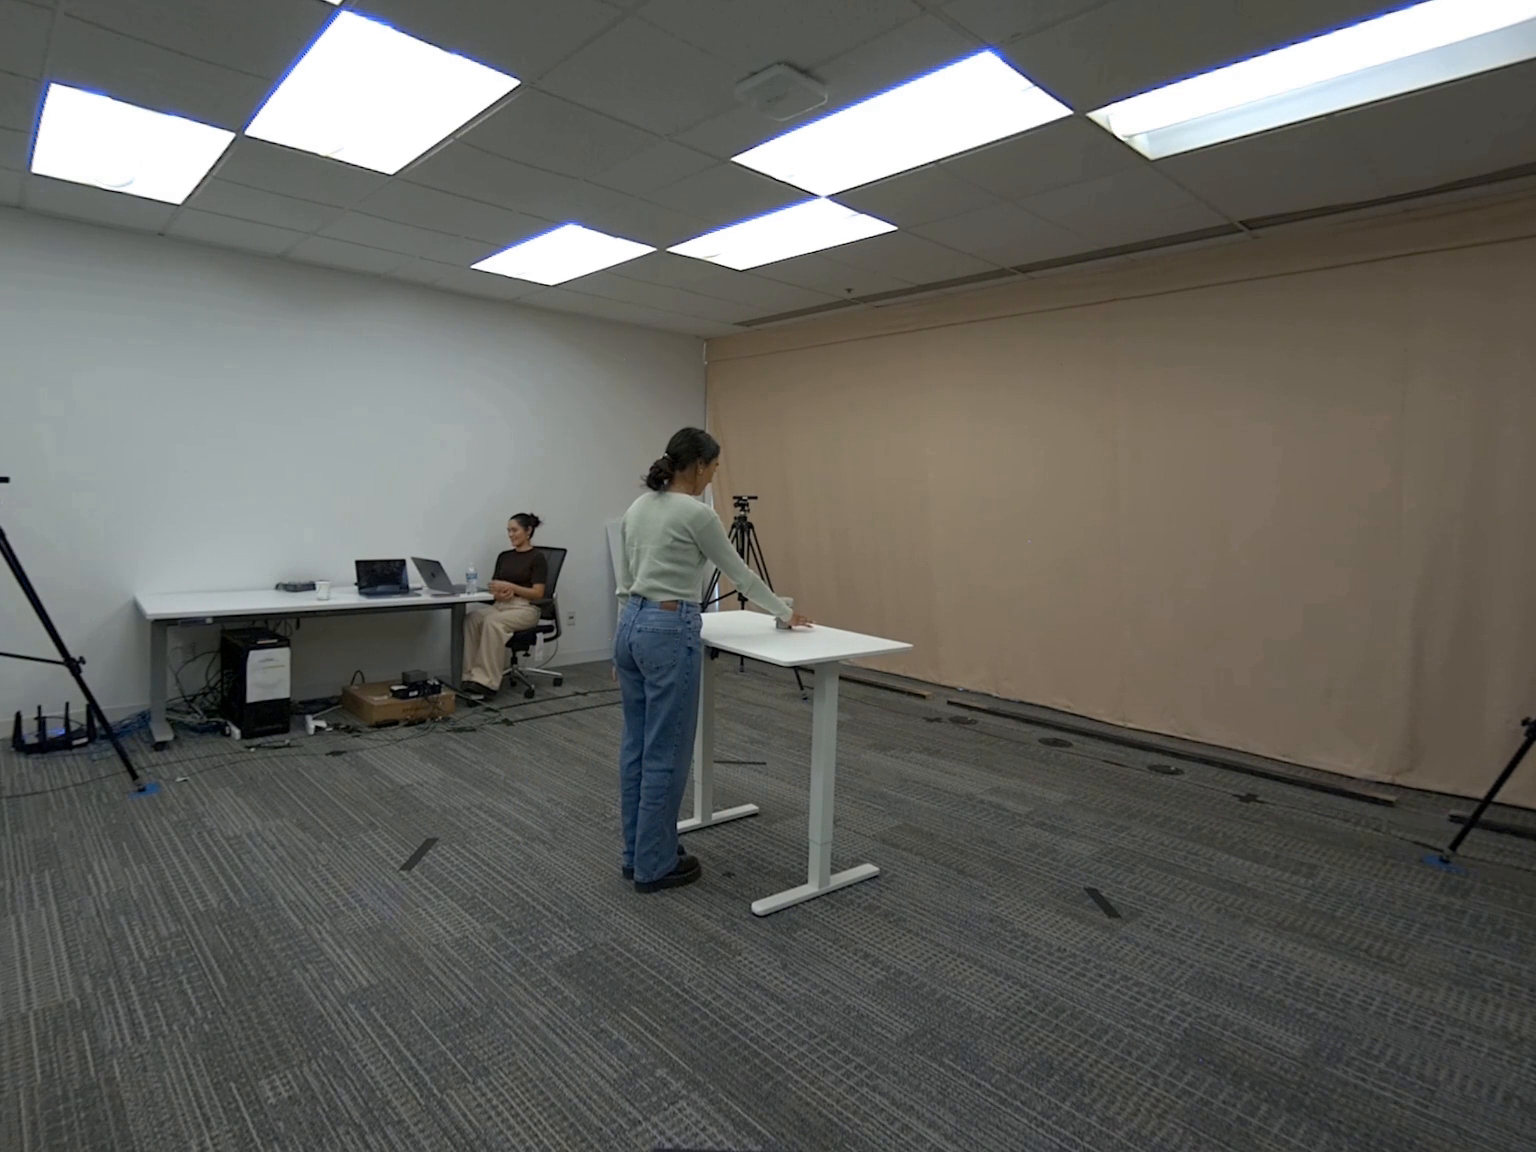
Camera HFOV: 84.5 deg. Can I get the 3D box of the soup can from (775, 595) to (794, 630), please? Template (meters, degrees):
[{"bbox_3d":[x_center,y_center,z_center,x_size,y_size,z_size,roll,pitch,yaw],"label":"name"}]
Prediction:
[{"bbox_3d":[0.060,0.149,3.301,0.067,0.121,0.067,4,7,-2],"label":"soup can"}]
